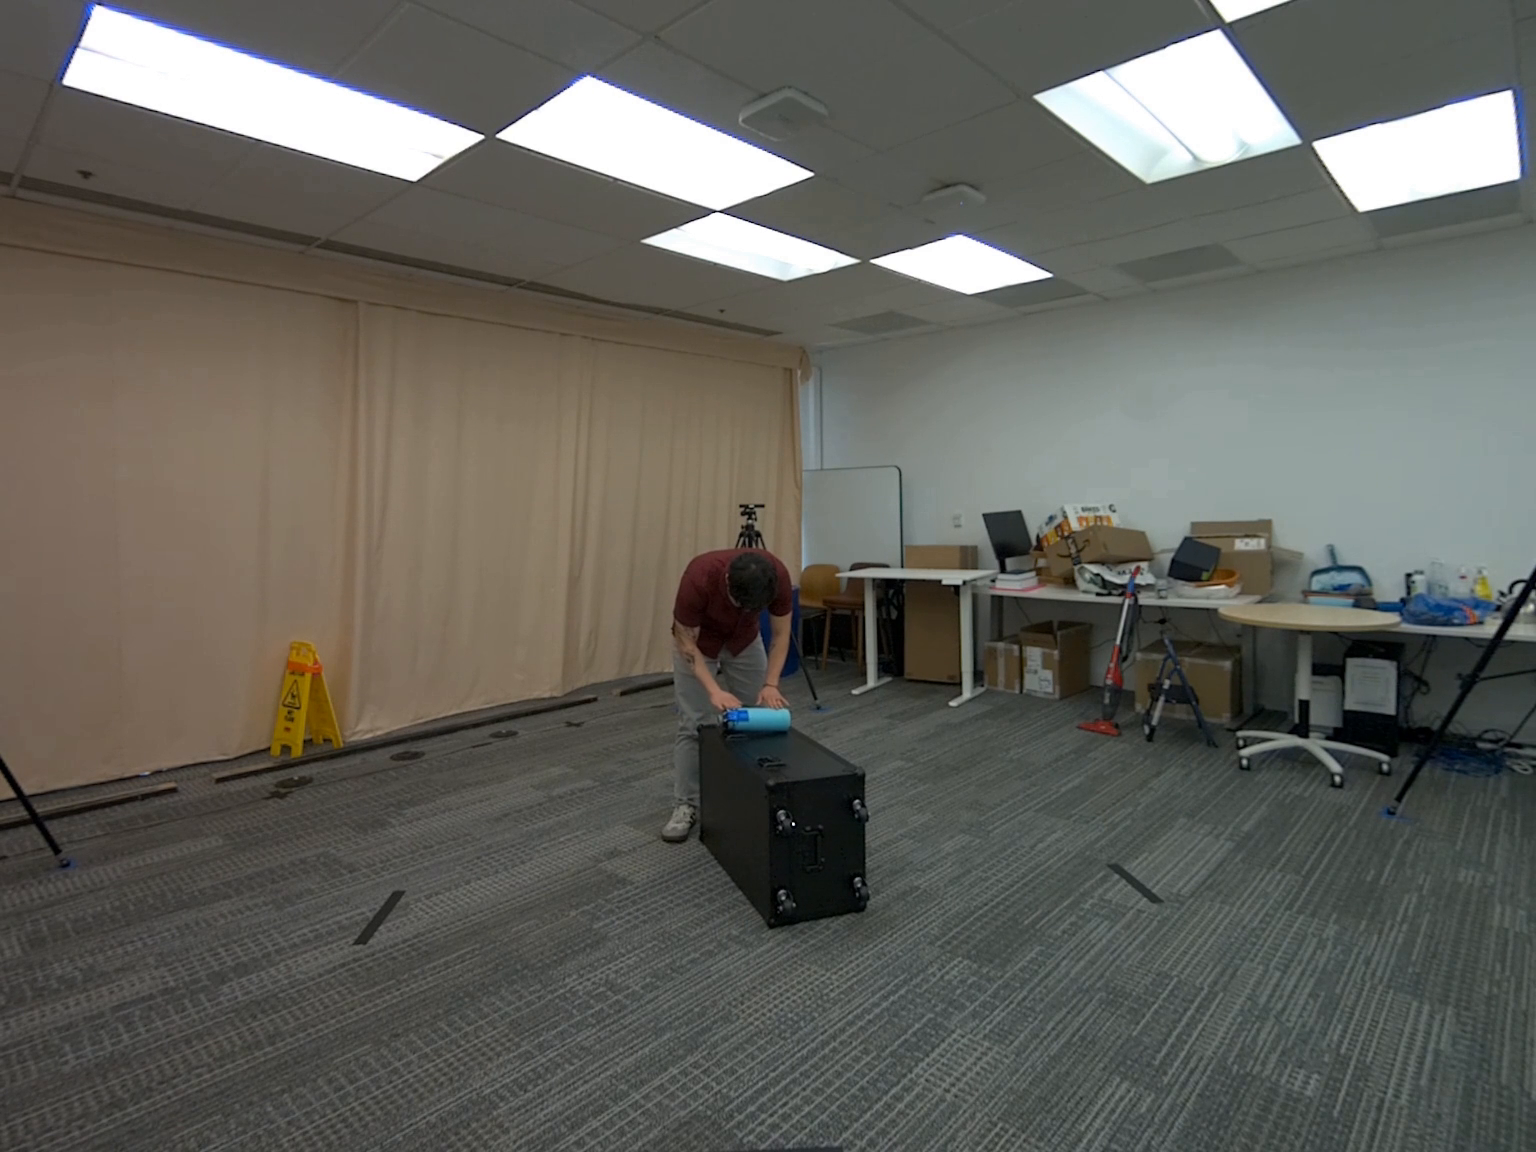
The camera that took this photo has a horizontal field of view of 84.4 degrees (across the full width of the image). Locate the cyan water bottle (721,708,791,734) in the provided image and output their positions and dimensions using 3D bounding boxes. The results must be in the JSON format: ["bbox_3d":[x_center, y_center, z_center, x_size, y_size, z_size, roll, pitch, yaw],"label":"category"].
[{"bbox_3d":[-0.049,0.565,3.337,0.278,0.092,0.094,4,2,-17],"label":"cyan water bottle"}]
